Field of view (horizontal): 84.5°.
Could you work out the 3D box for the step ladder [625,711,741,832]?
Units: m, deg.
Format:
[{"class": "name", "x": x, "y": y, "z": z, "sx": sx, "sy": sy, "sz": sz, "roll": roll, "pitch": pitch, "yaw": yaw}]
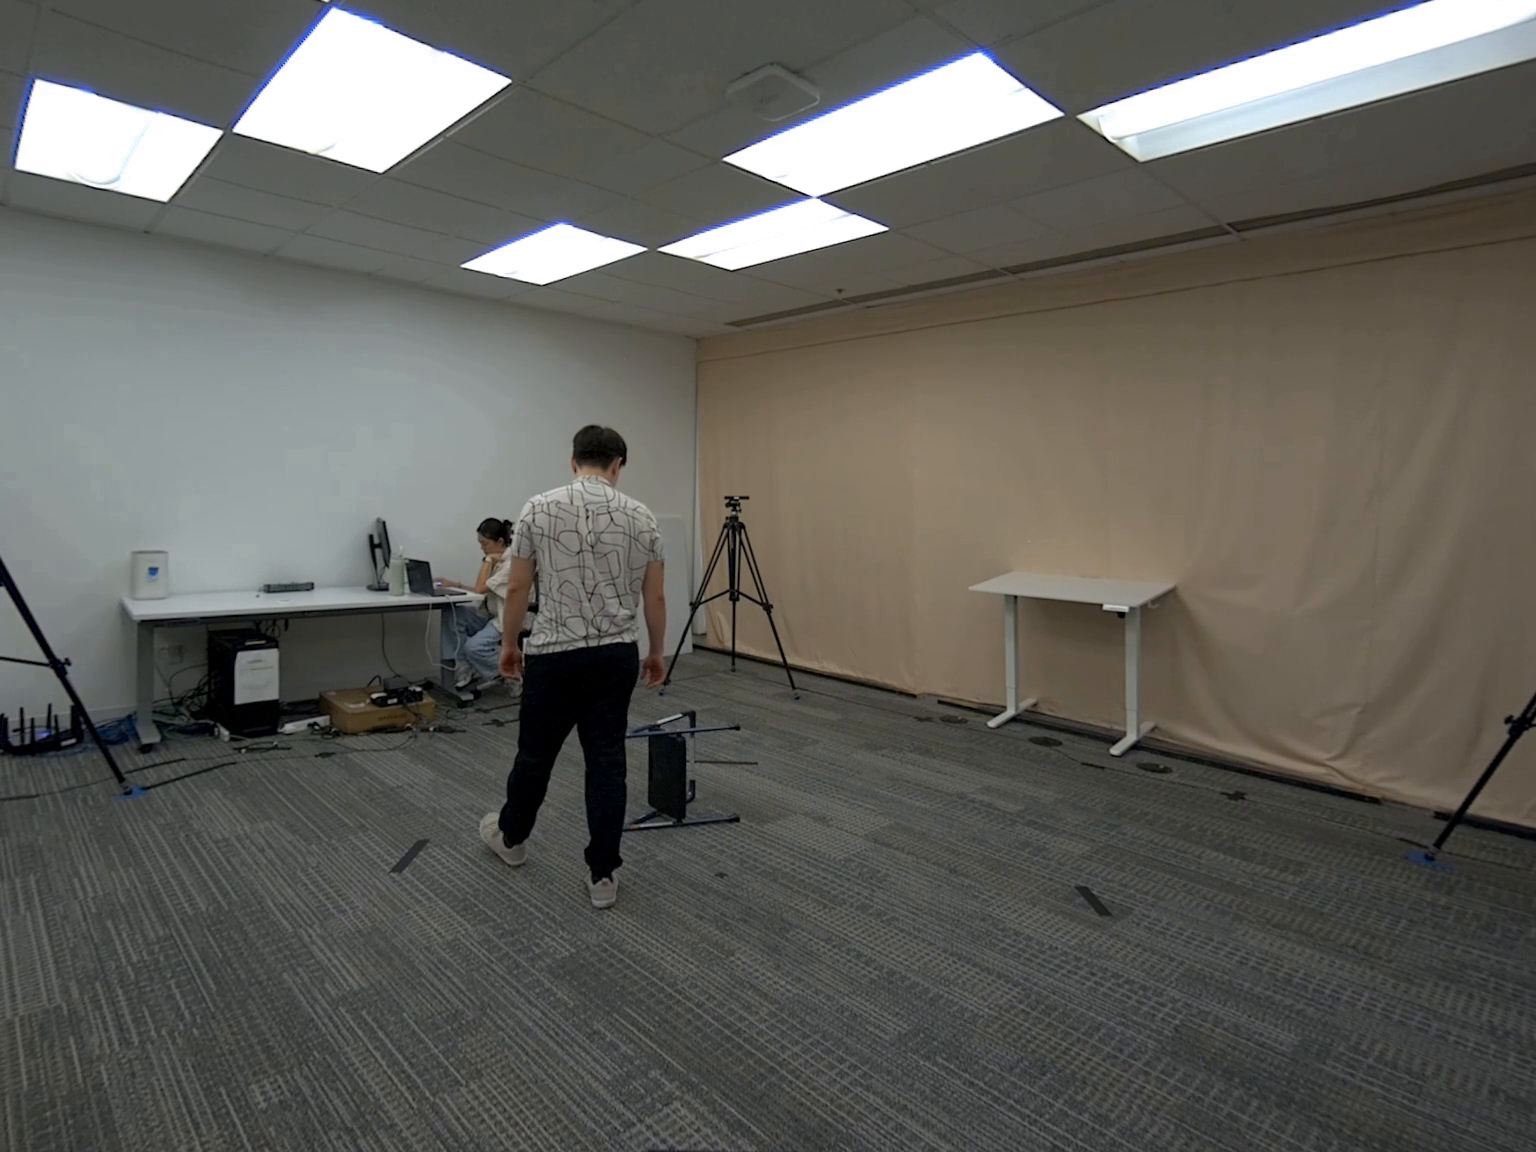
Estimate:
[{"class": "step ladder", "x": -0.472, "y": 0.848, "z": 3.563, "sx": 0.592, "sy": 0.430, "sz": 0.358, "roll": -2, "pitch": 4, "yaw": -39}]
